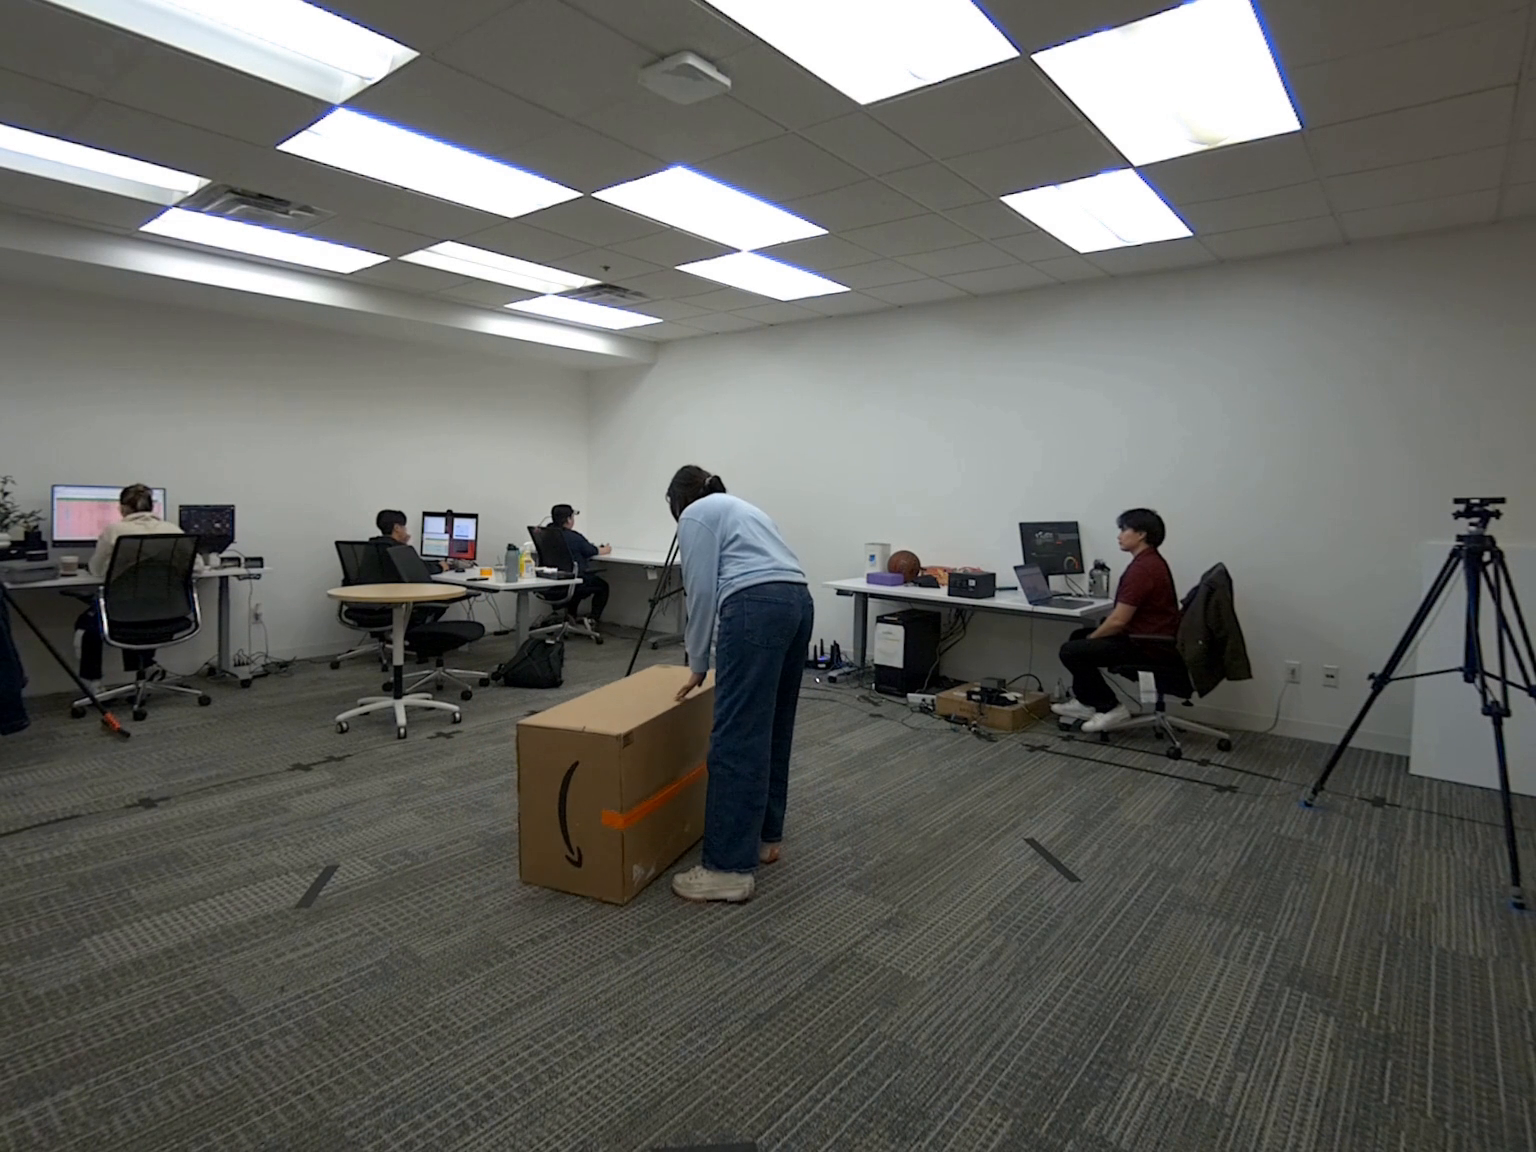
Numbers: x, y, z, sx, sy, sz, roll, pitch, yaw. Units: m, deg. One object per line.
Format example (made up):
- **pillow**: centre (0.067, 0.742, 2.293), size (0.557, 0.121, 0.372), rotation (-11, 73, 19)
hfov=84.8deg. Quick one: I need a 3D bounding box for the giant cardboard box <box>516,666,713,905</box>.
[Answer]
- **giant cardboard box**: centre (-0.507, 0.741, 3.333), size (0.457, 0.581, 1.008), rotation (1, 6, 22)
